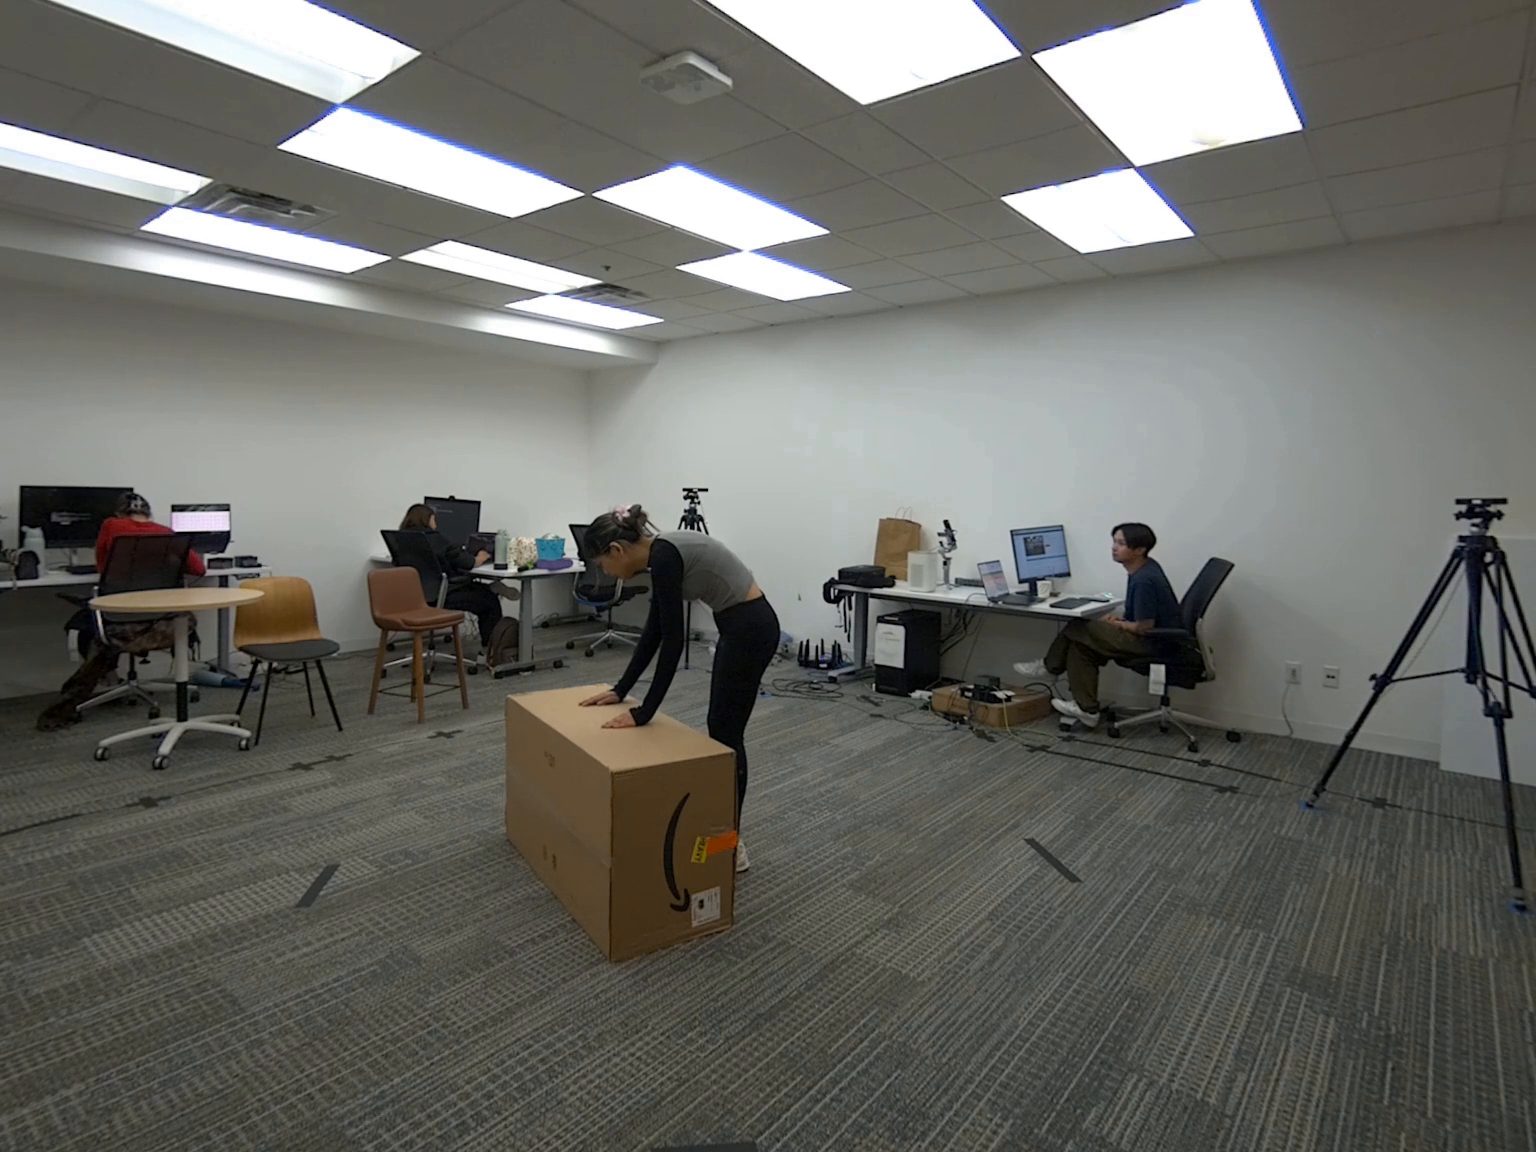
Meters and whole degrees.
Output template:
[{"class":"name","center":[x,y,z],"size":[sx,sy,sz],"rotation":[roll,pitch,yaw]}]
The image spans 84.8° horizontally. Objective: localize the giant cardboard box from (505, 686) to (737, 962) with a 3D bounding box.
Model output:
[{"class":"giant cardboard box","center":[-0.575,0.786,2.999],"size":[0.414,0.575,1.059],"rotation":[-1,6,-32]}]
